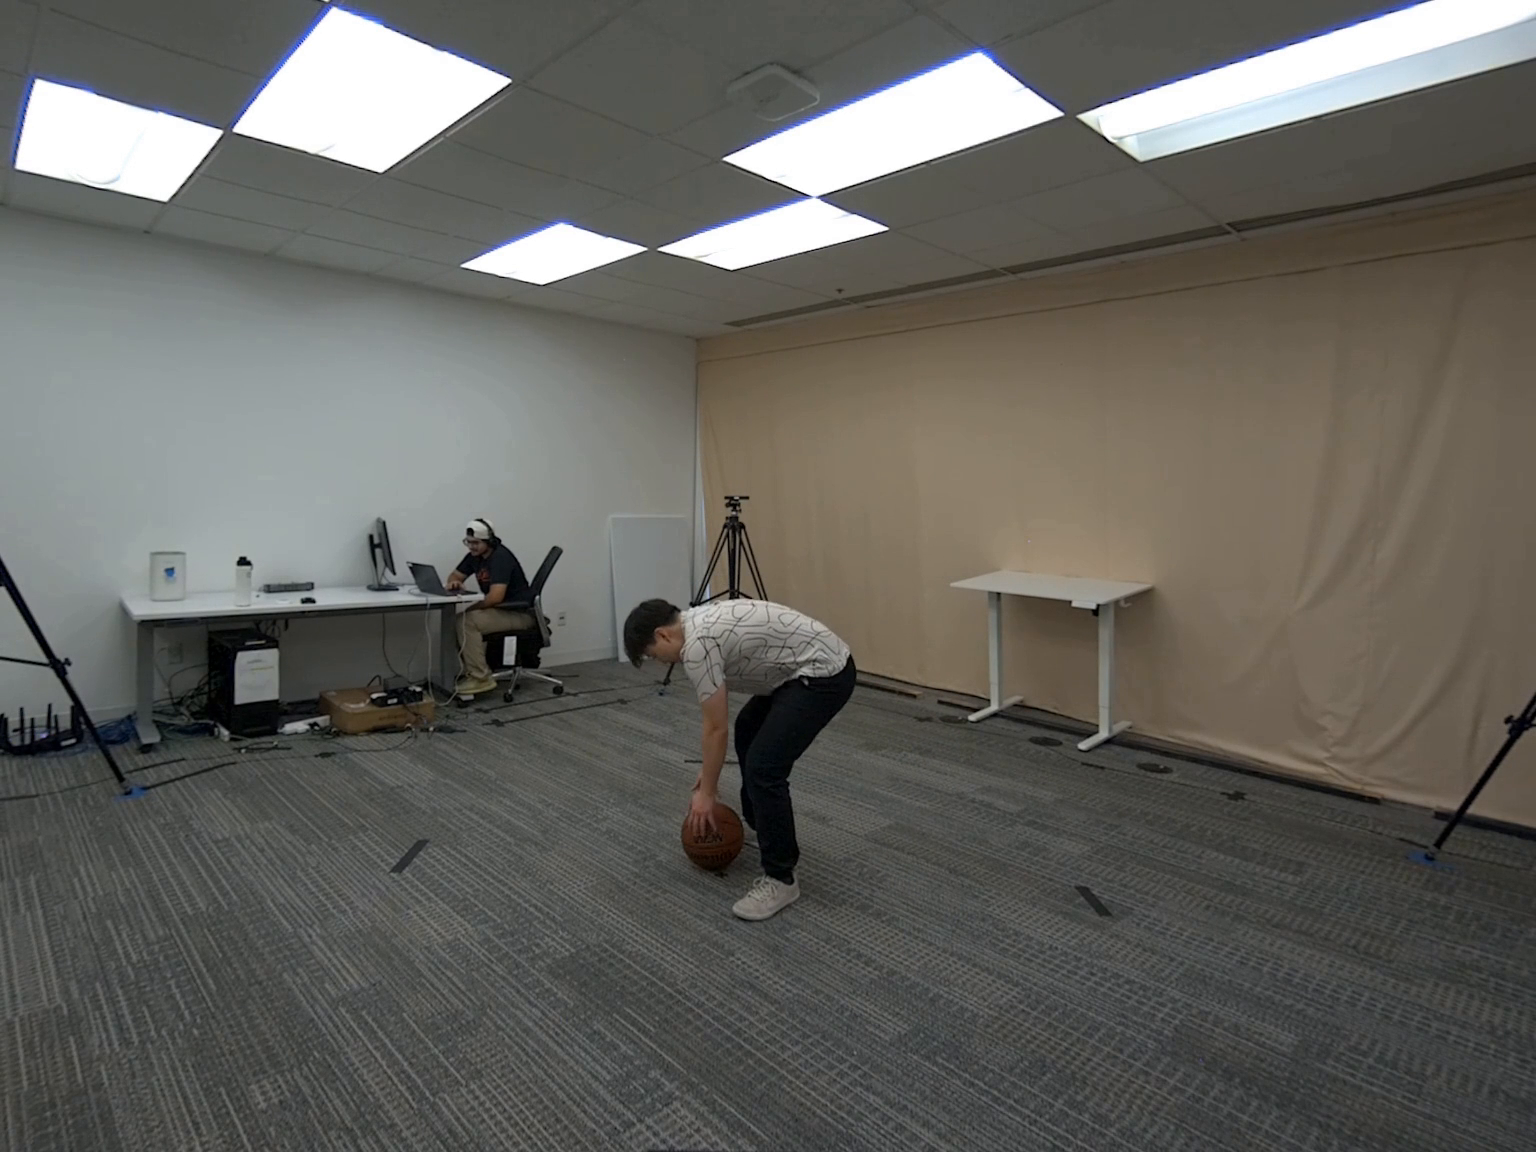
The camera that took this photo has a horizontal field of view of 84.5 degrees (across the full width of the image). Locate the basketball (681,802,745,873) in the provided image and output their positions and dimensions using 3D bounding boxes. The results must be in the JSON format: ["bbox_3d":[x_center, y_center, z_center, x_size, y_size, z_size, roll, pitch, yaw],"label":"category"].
[{"bbox_3d":[-0.213,0.969,3.170,0.236,0.235,0.237,1,4,-1],"label":"basketball"}]
